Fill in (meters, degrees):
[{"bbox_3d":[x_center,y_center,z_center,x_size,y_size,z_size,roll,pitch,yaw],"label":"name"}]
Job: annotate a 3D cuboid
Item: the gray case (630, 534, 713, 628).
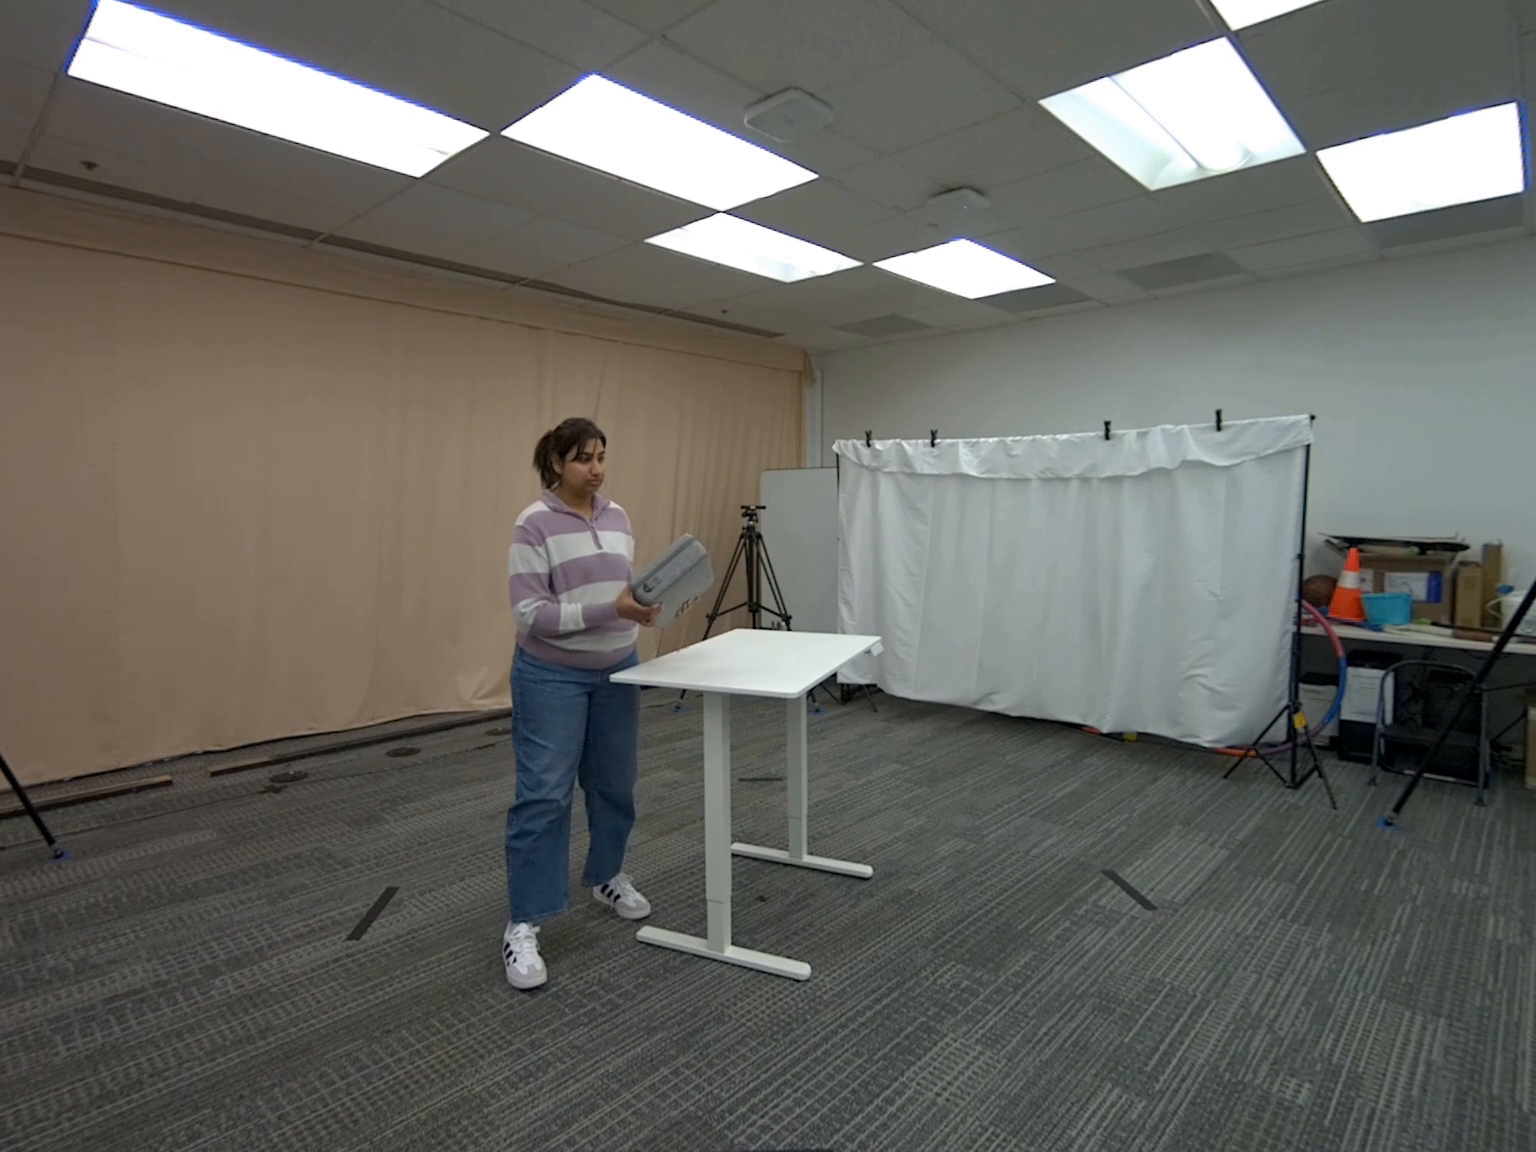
[{"bbox_3d":[-0.299,0.017,2.567,0.259,0.106,0.253,-42,-16,-14],"label":"gray case"}]
